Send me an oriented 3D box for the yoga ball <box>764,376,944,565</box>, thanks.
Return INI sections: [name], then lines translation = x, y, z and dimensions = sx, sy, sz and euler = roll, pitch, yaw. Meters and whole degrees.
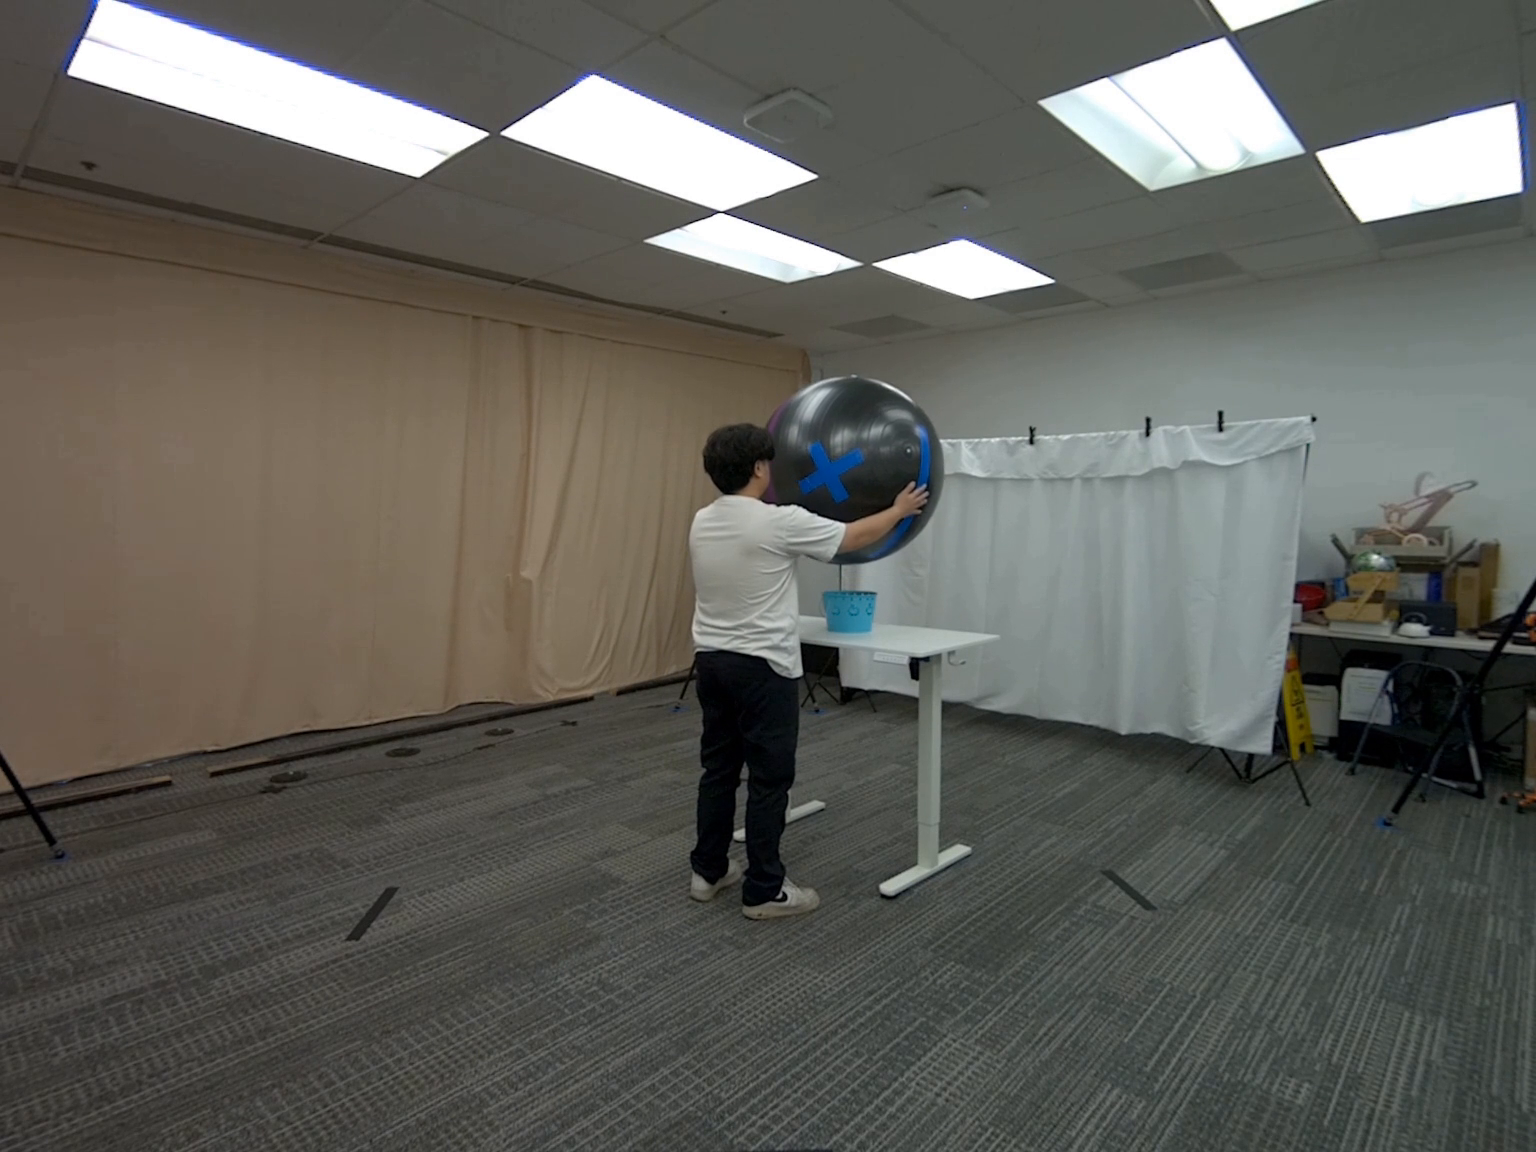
[yoga ball]
translation = 0.325, -0.413, 3.409
dimensions = 0.757, 0.756, 0.760
euler = 0, 4, -2
